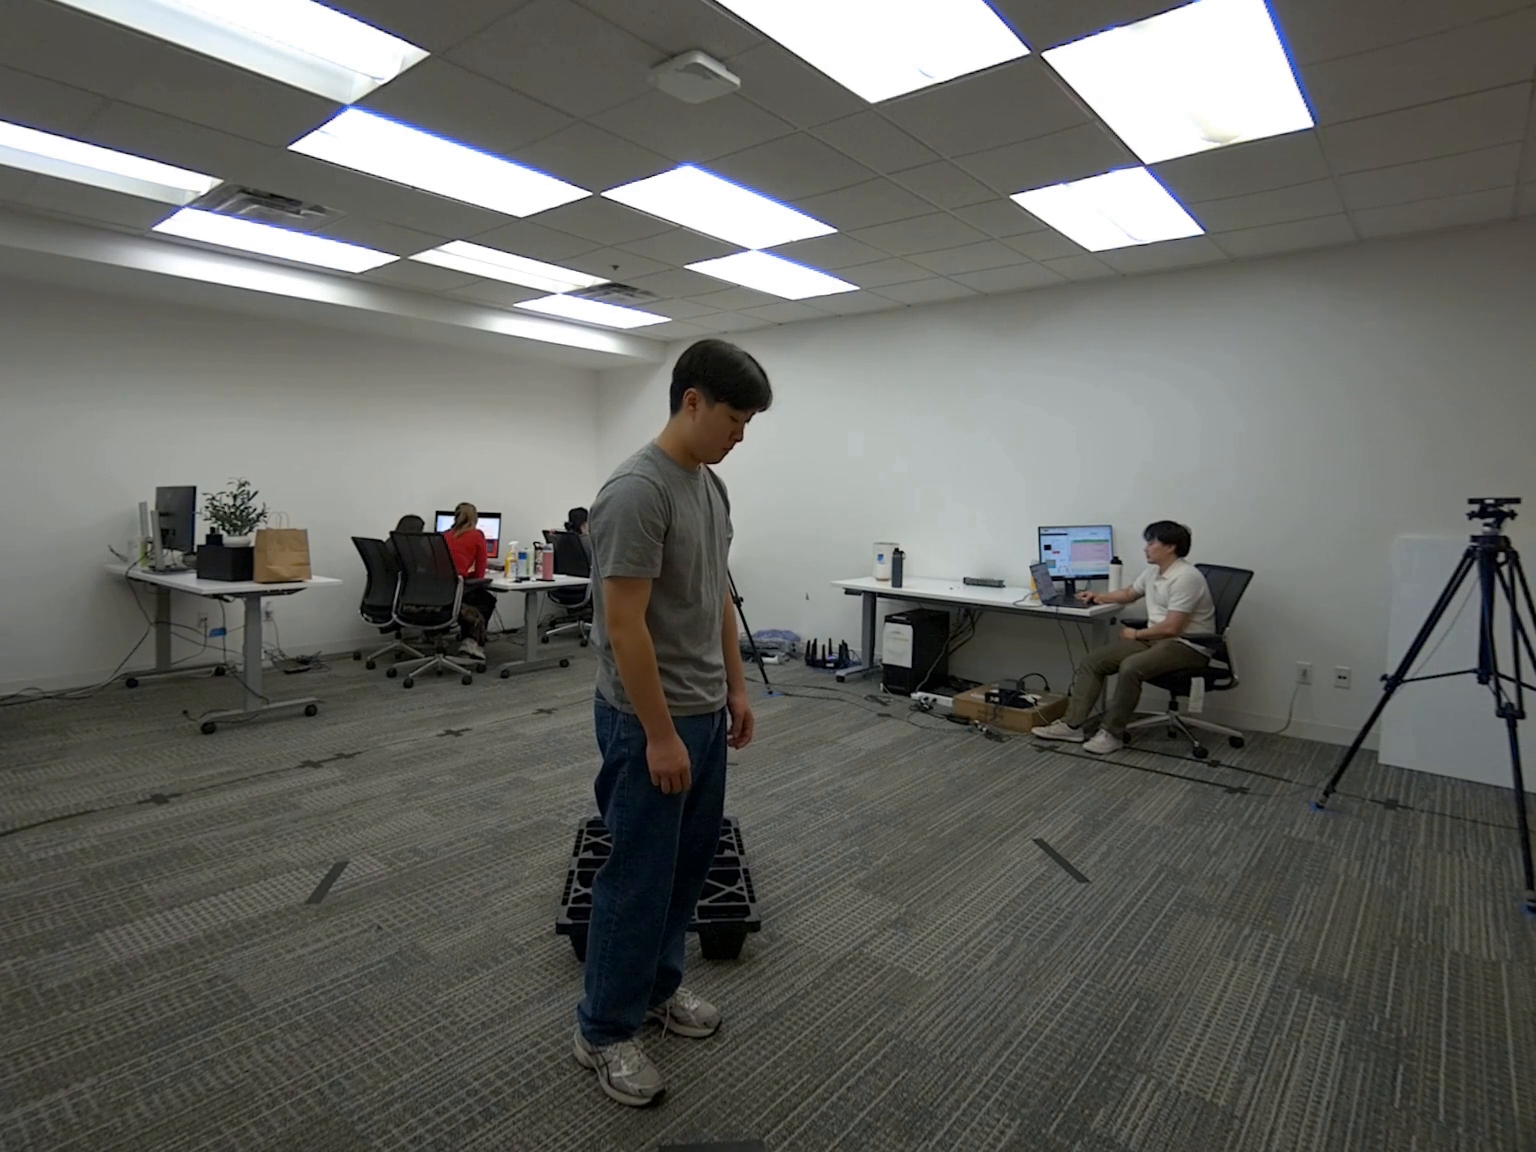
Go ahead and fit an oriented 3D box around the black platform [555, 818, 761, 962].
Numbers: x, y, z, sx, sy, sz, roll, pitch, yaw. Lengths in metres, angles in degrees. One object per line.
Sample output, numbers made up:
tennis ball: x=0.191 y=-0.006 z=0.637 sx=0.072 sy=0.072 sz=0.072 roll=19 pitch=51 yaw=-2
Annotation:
black platform: x=-0.370 y=1.018 z=2.850 sx=0.602 sy=0.143 sz=0.814 roll=1 pitch=6 yaw=-6
